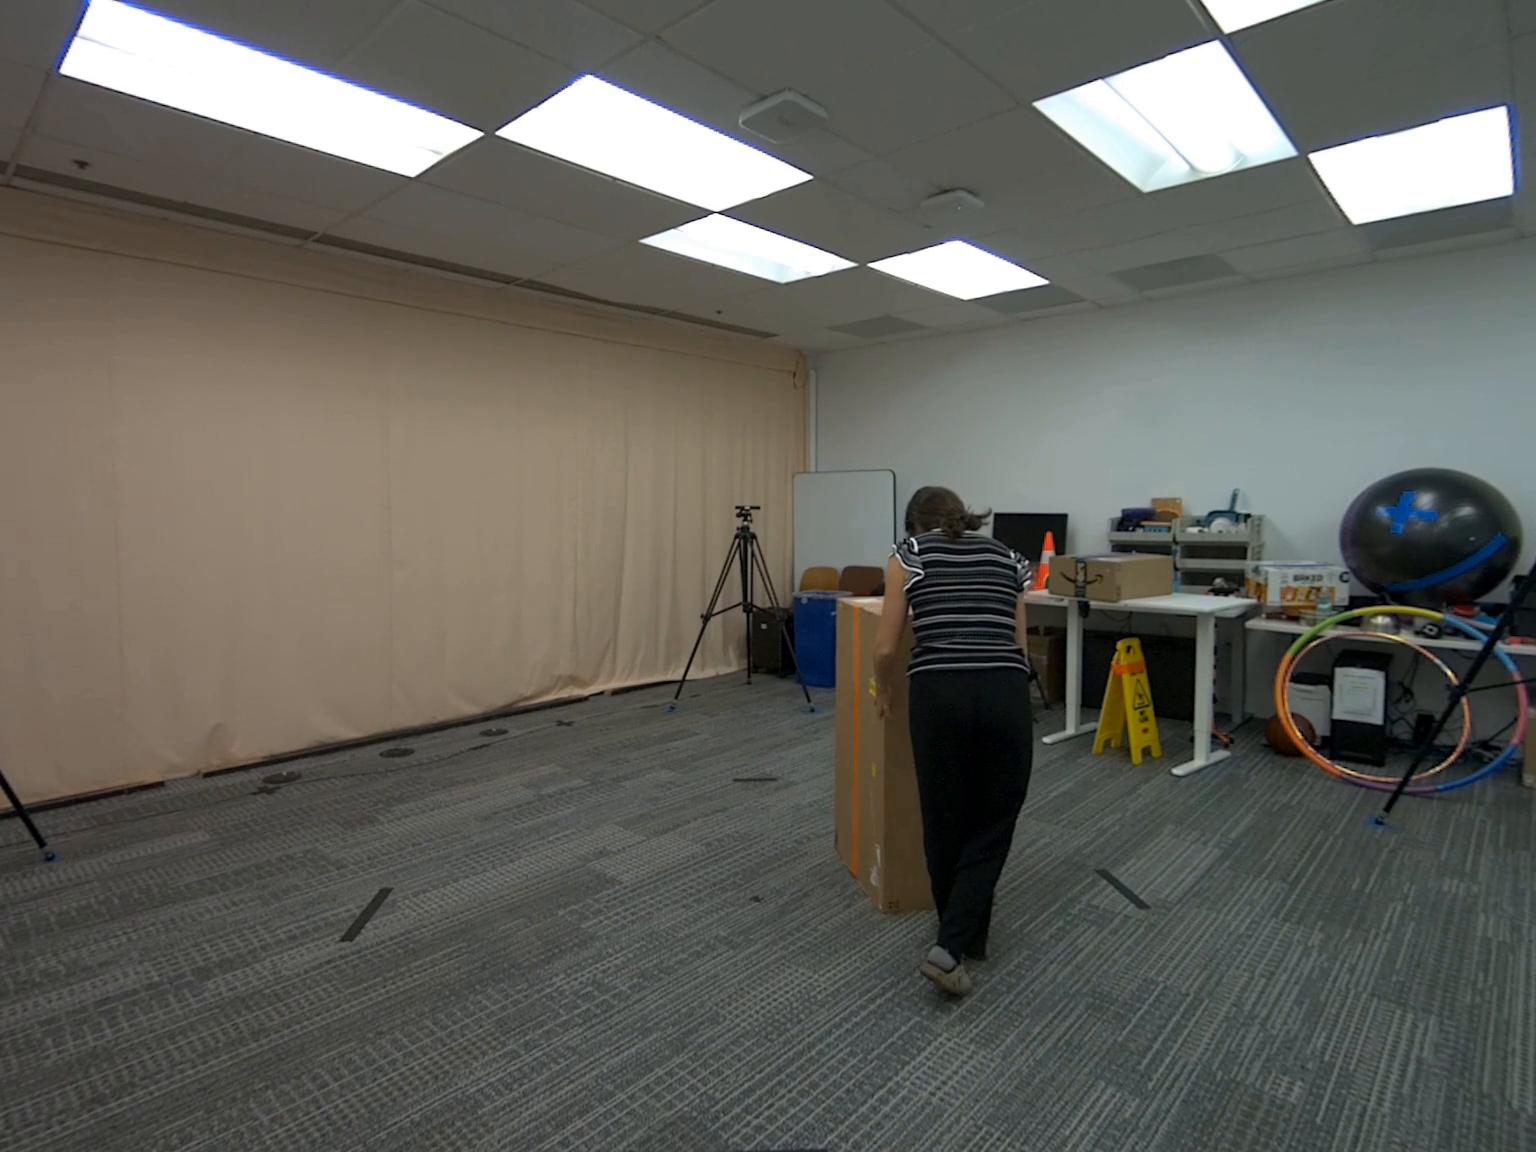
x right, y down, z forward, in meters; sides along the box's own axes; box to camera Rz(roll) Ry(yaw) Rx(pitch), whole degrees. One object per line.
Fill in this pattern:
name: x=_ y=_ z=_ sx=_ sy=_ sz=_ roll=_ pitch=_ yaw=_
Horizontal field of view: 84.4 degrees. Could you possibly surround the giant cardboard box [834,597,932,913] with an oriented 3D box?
giant cardboard box: x=0.538 y=0.617 z=3.160 sx=0.421 sy=1.024 sz=0.585 roll=0 pitch=3 yaw=-11
